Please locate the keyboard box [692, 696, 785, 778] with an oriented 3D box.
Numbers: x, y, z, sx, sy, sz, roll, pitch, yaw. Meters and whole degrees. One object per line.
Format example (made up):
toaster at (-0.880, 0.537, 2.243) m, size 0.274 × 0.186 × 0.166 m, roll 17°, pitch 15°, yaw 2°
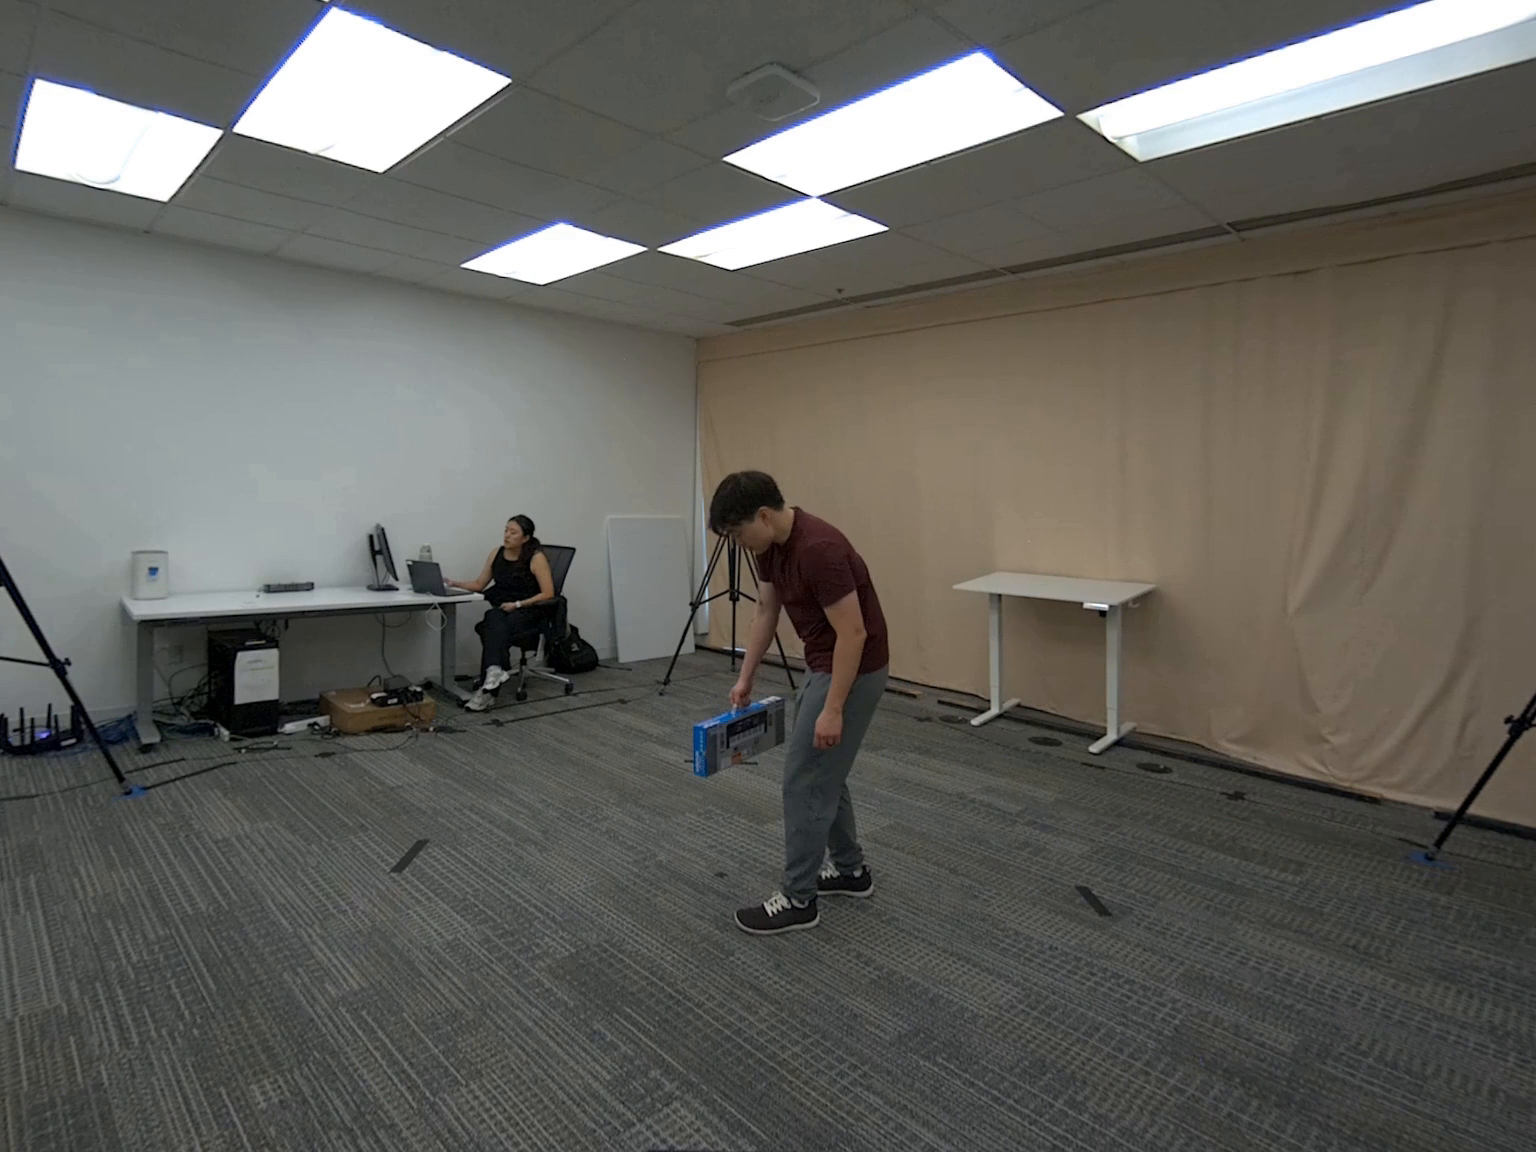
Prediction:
keyboard box at (-0.098, 0.569, 2.978) m, size 0.060 × 0.175 × 0.428 m, roll 5°, pitch 10°, yaw 39°
